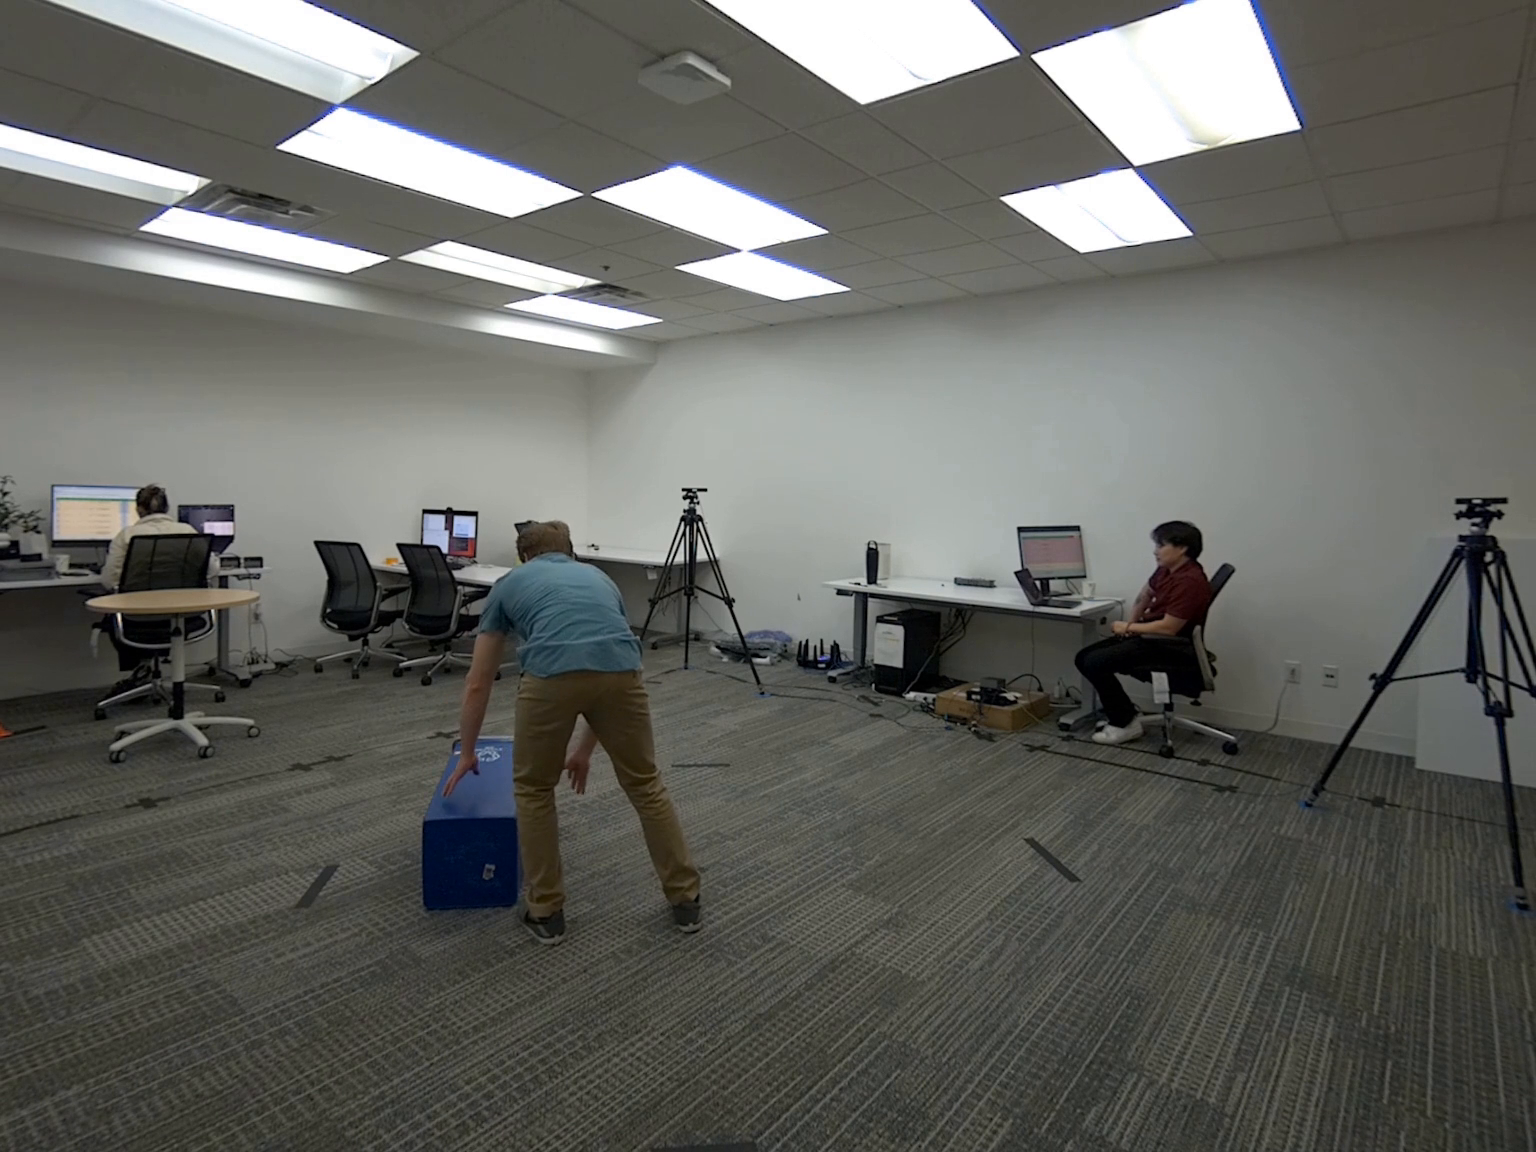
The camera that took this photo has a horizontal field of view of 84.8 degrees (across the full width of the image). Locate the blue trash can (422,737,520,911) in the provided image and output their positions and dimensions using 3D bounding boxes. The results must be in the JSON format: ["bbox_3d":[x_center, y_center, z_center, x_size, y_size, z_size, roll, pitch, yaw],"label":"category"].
[{"bbox_3d":[-1.048,0.889,3.130,0.370,0.376,0.725,1,8,-11],"label":"blue trash can"}]
